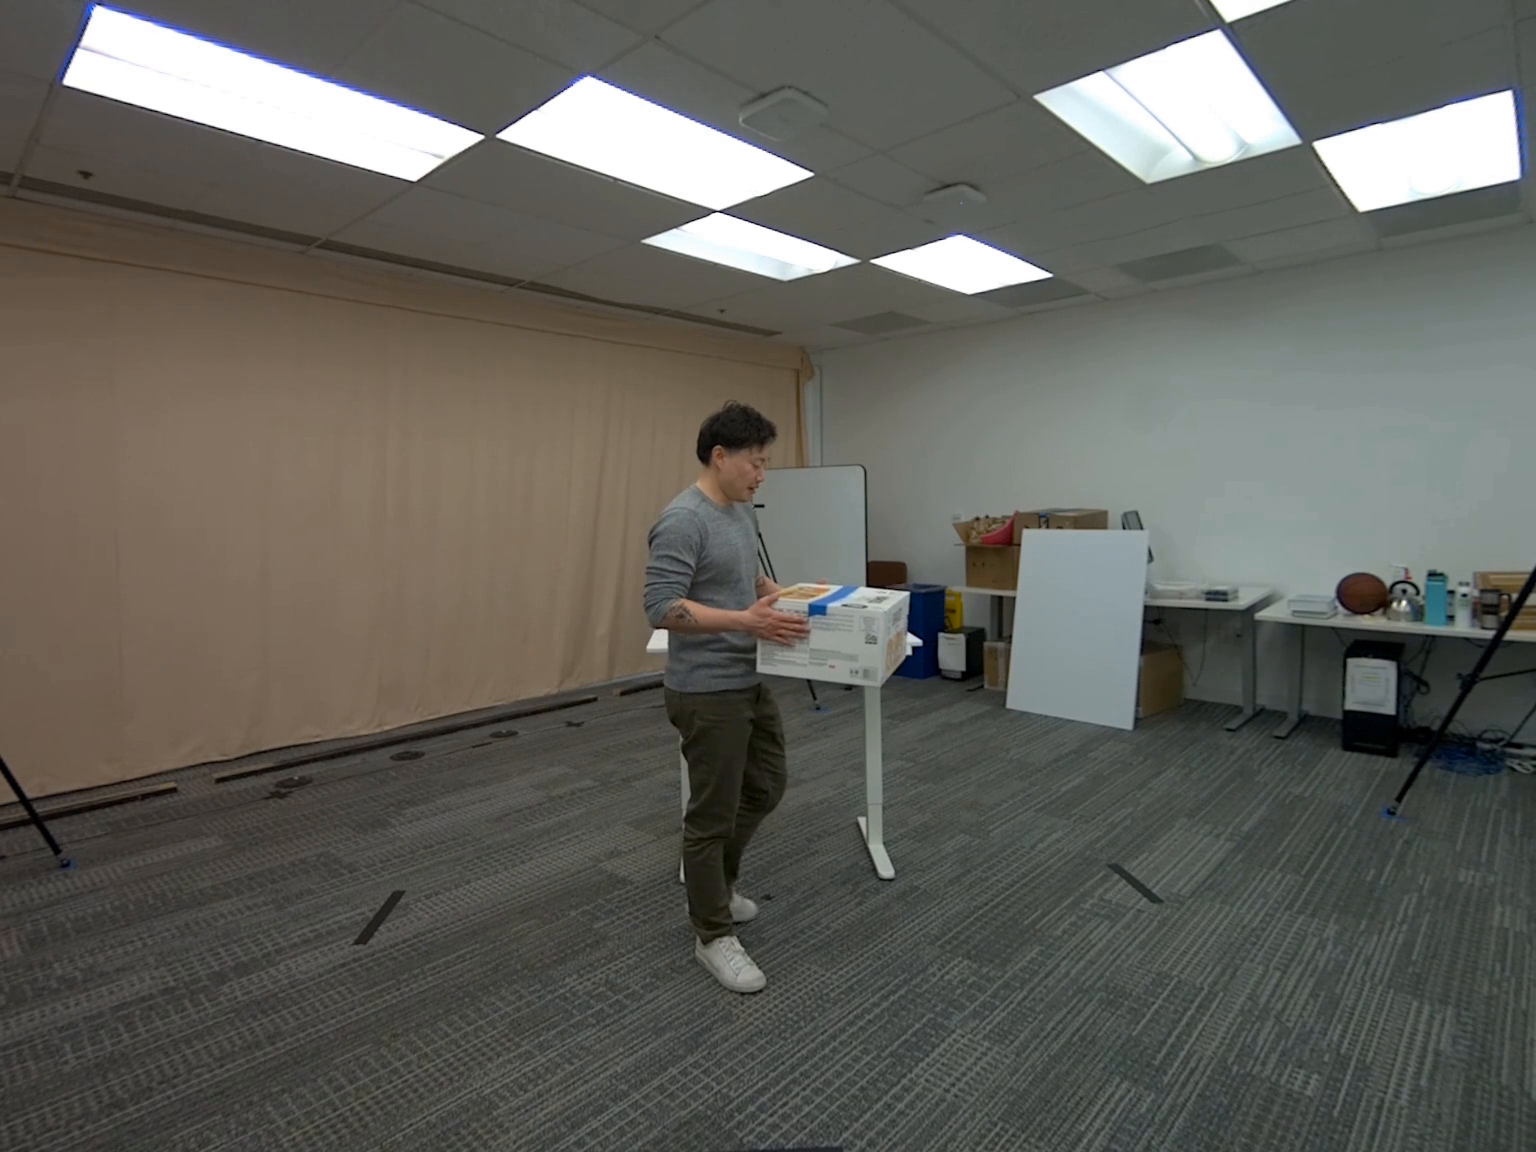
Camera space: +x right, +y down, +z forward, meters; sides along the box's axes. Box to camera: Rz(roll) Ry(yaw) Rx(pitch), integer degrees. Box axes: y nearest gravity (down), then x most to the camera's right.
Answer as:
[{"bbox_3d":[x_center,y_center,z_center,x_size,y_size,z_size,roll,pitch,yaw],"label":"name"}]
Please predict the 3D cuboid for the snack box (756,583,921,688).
[{"bbox_3d":[0.206,0.157,2.374,0.348,0.205,0.398,4,7,19],"label":"snack box"}]
